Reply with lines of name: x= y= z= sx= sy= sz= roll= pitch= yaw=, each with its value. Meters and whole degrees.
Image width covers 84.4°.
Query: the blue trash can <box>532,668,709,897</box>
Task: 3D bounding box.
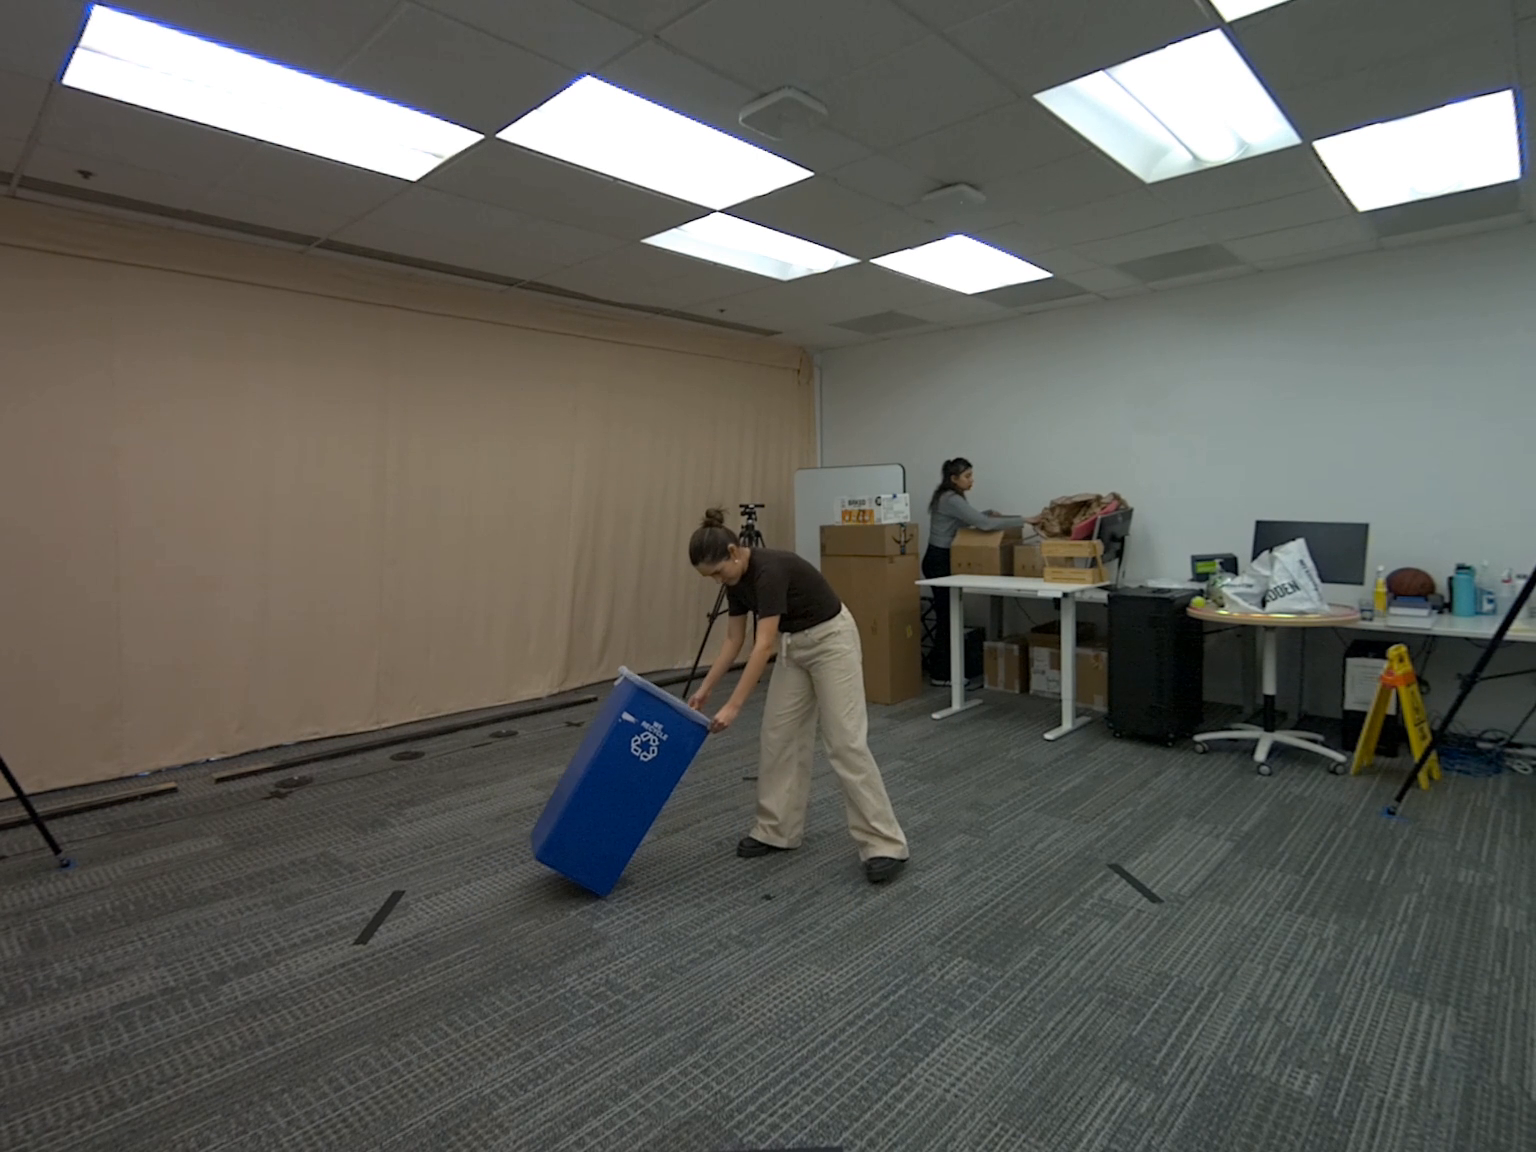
blue trash can: x=-0.542 y=0.761 z=3.137 sx=0.367 sy=0.713 sz=0.385 roll=32 pitch=-8 yaw=-15
